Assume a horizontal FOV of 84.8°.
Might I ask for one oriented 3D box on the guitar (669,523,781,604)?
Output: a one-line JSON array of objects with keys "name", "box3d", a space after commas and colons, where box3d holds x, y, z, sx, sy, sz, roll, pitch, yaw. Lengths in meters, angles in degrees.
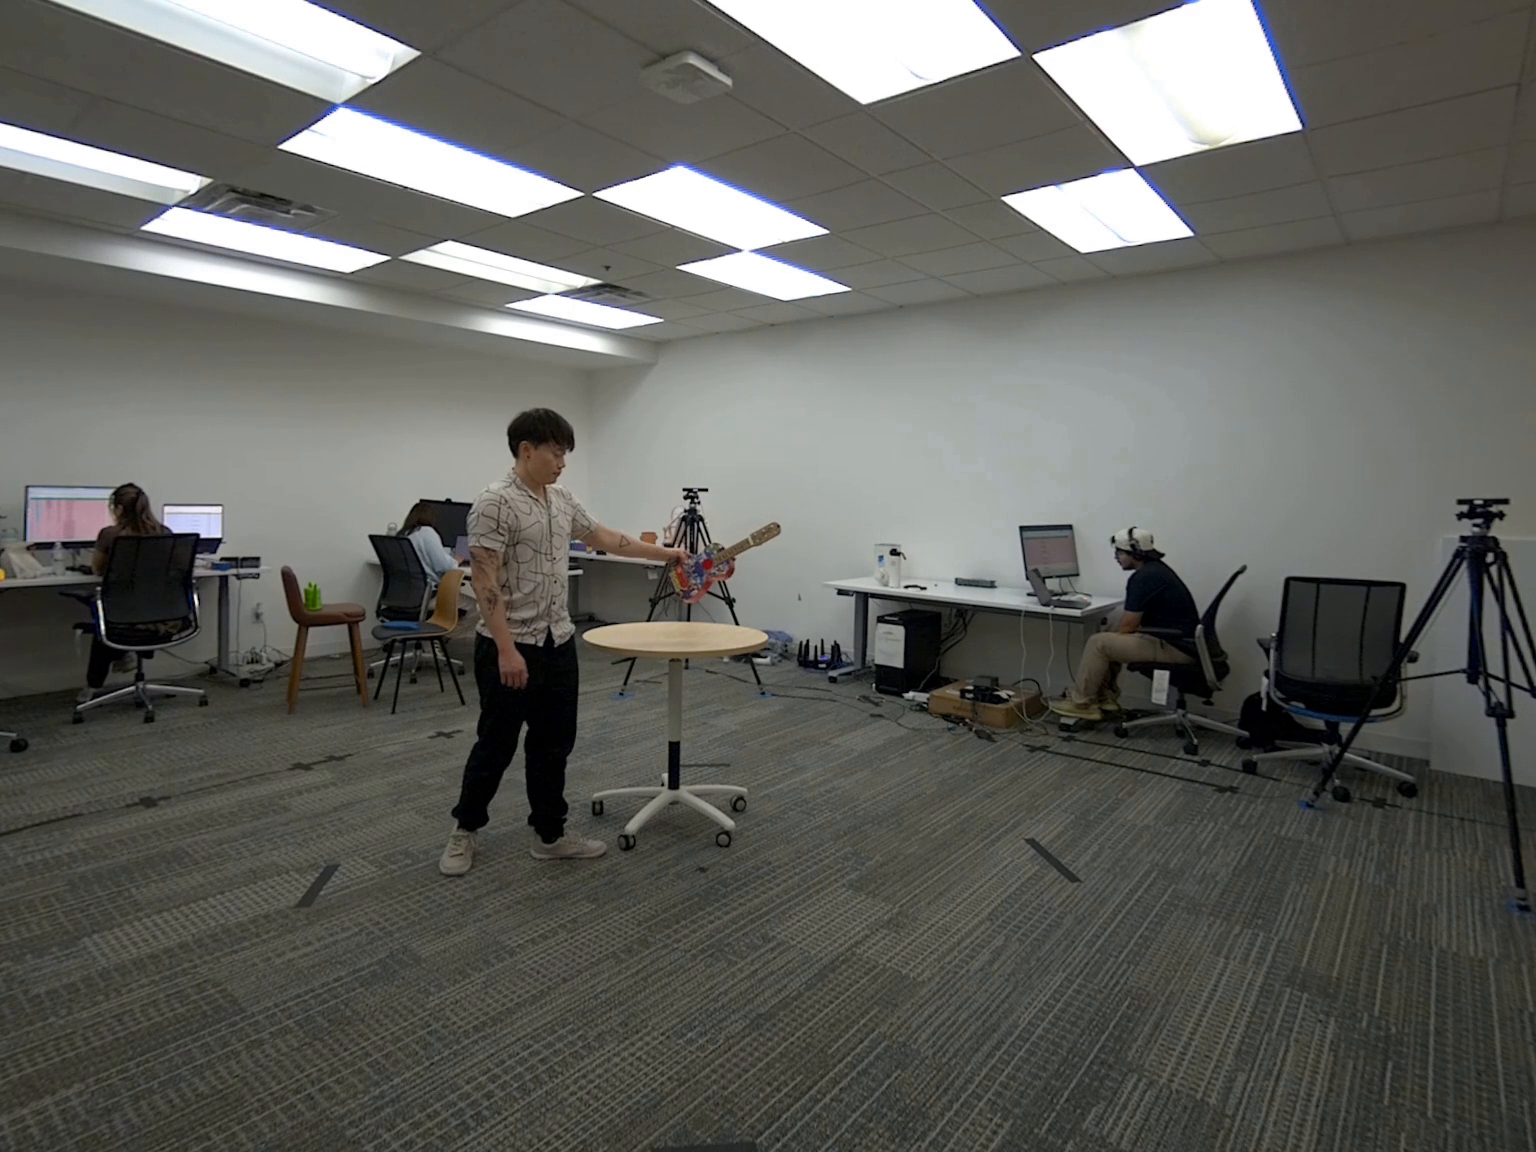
[{"name": "guitar", "box3d": [-0.183, -0.049, 3.374, 0.502, 0.197, 0.068, -19, -17, 14]}]
